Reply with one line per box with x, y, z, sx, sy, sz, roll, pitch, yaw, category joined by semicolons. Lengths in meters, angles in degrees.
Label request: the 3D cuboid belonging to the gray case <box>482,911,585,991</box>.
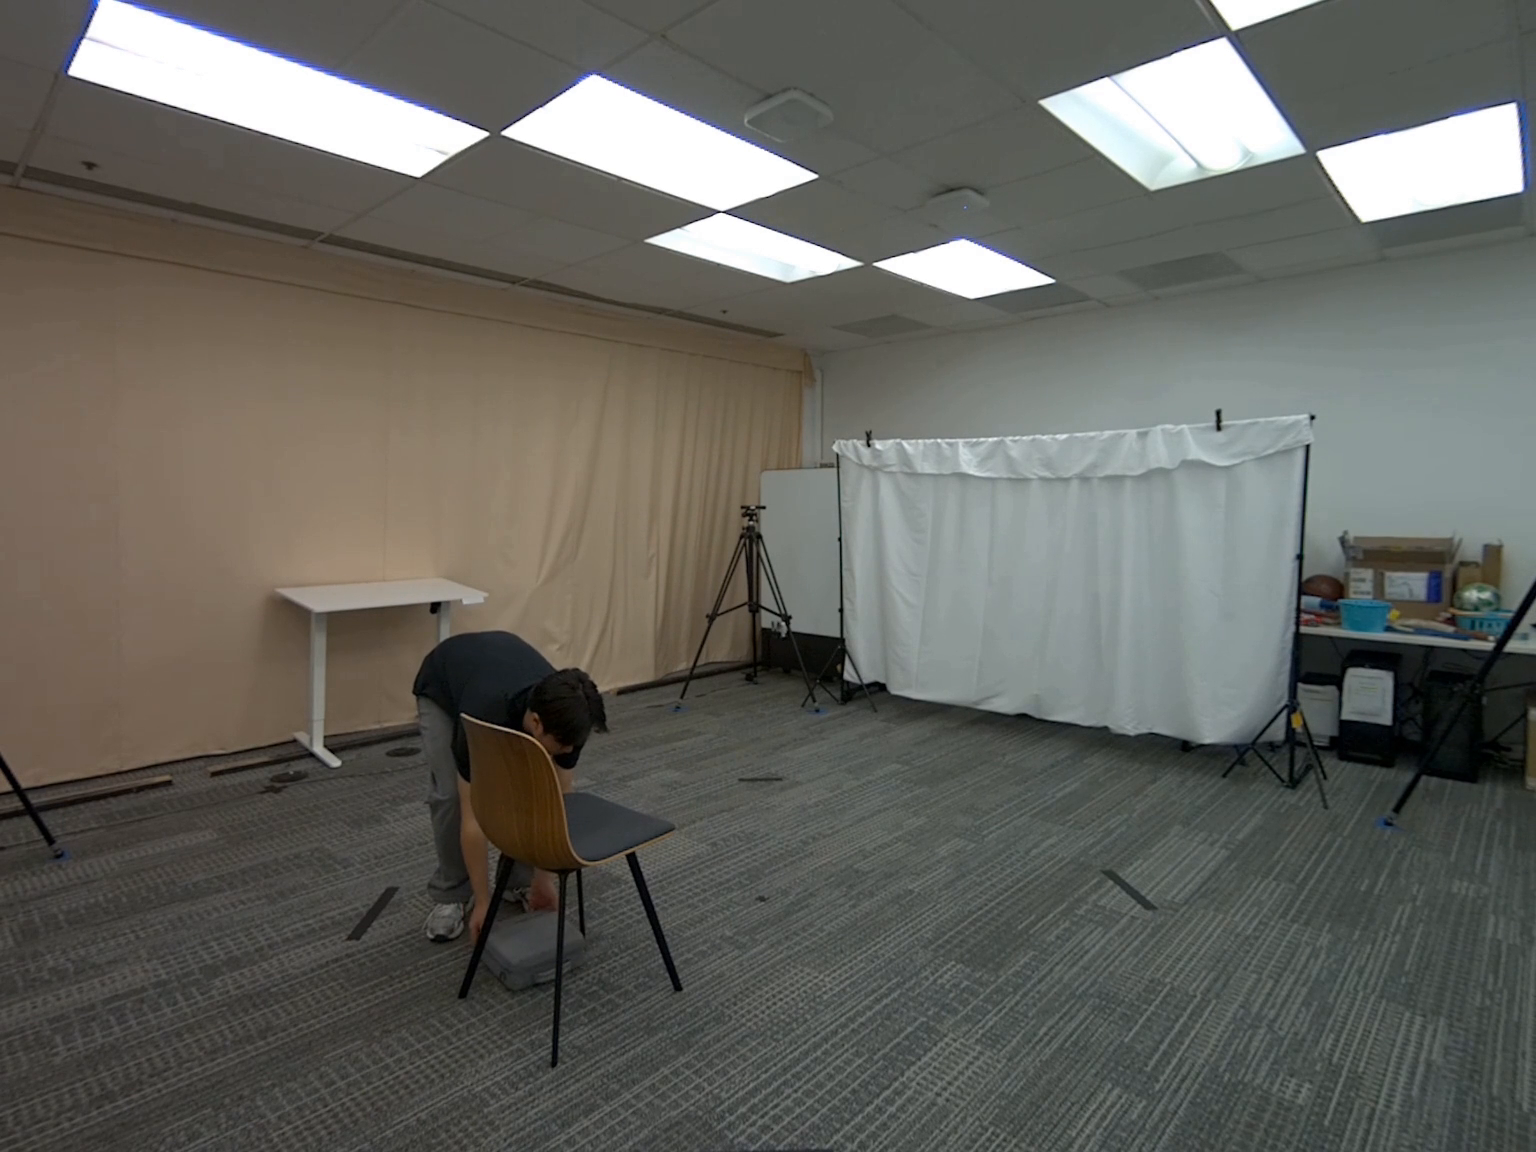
-0.708;1.127;2.545;0.255;0.103;0.297;-2;6;-40;gray case
